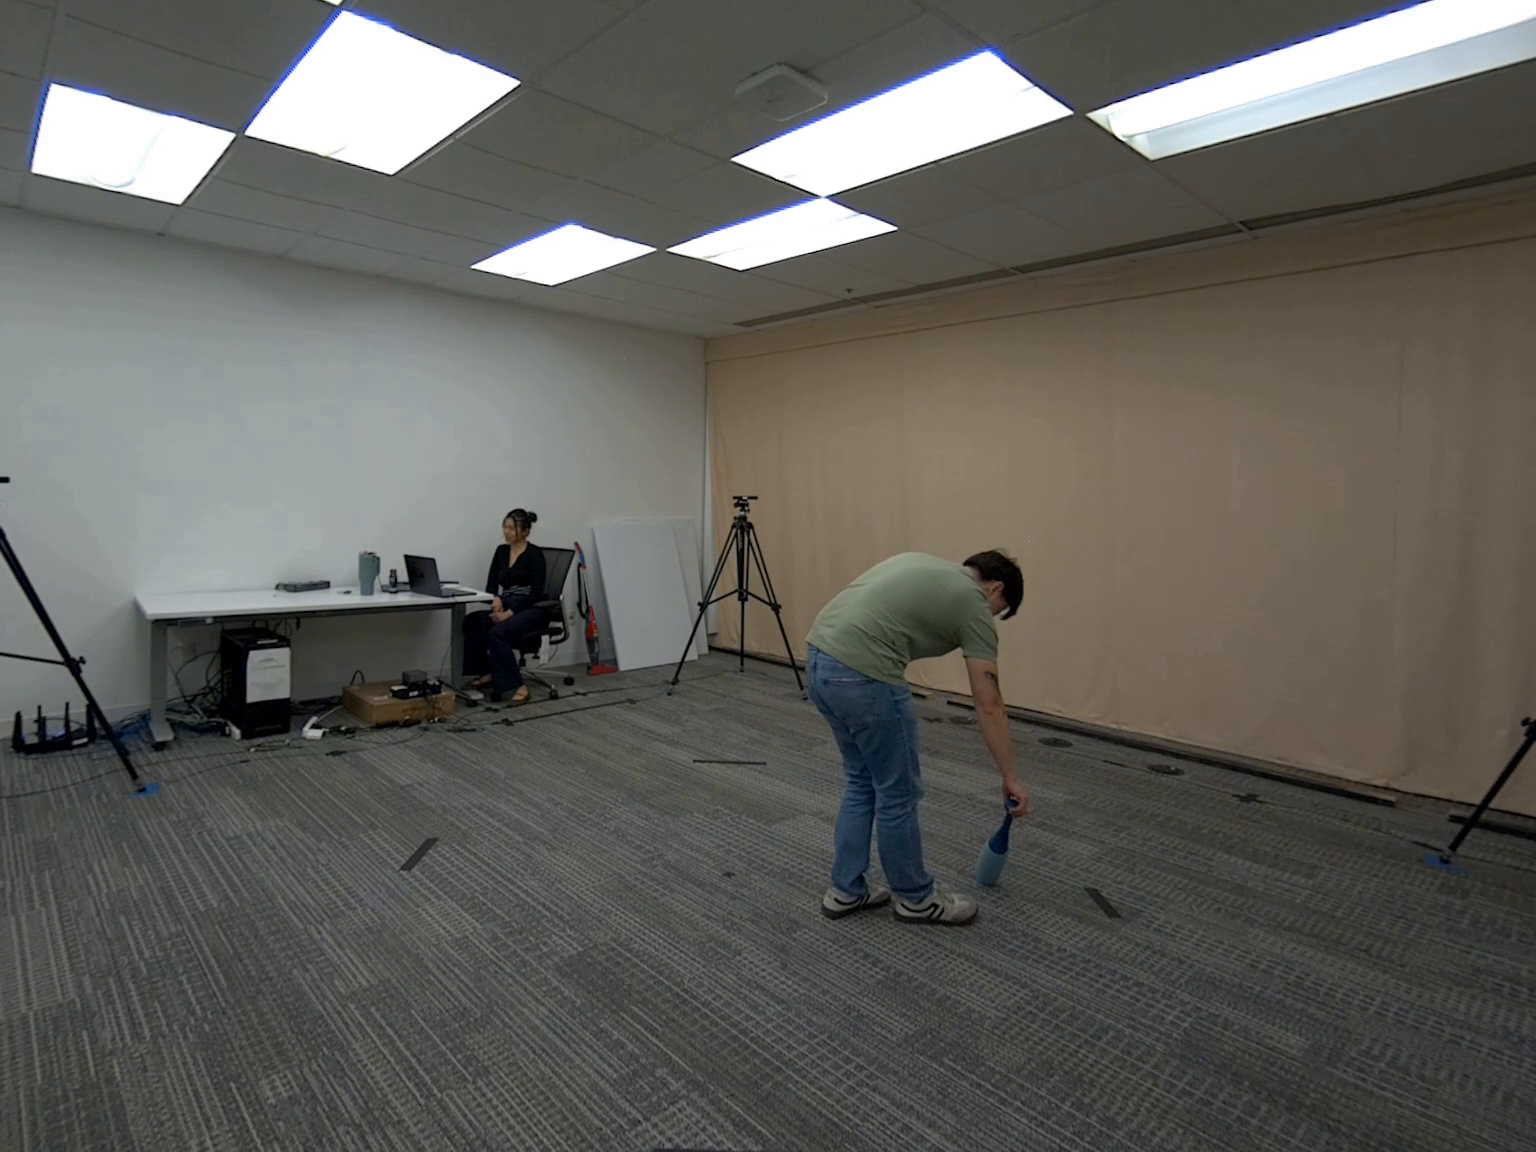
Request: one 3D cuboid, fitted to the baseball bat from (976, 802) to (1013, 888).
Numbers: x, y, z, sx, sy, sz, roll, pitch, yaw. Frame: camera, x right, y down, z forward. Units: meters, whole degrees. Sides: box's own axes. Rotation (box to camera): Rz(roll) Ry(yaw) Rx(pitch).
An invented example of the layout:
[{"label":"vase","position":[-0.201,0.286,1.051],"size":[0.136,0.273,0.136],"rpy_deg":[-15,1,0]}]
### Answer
[{"label":"baseball bat","position":[0.794,0.922,2.911],"size":[0.089,0.531,0.091],"rpy_deg":[-1,46,-1]}]
